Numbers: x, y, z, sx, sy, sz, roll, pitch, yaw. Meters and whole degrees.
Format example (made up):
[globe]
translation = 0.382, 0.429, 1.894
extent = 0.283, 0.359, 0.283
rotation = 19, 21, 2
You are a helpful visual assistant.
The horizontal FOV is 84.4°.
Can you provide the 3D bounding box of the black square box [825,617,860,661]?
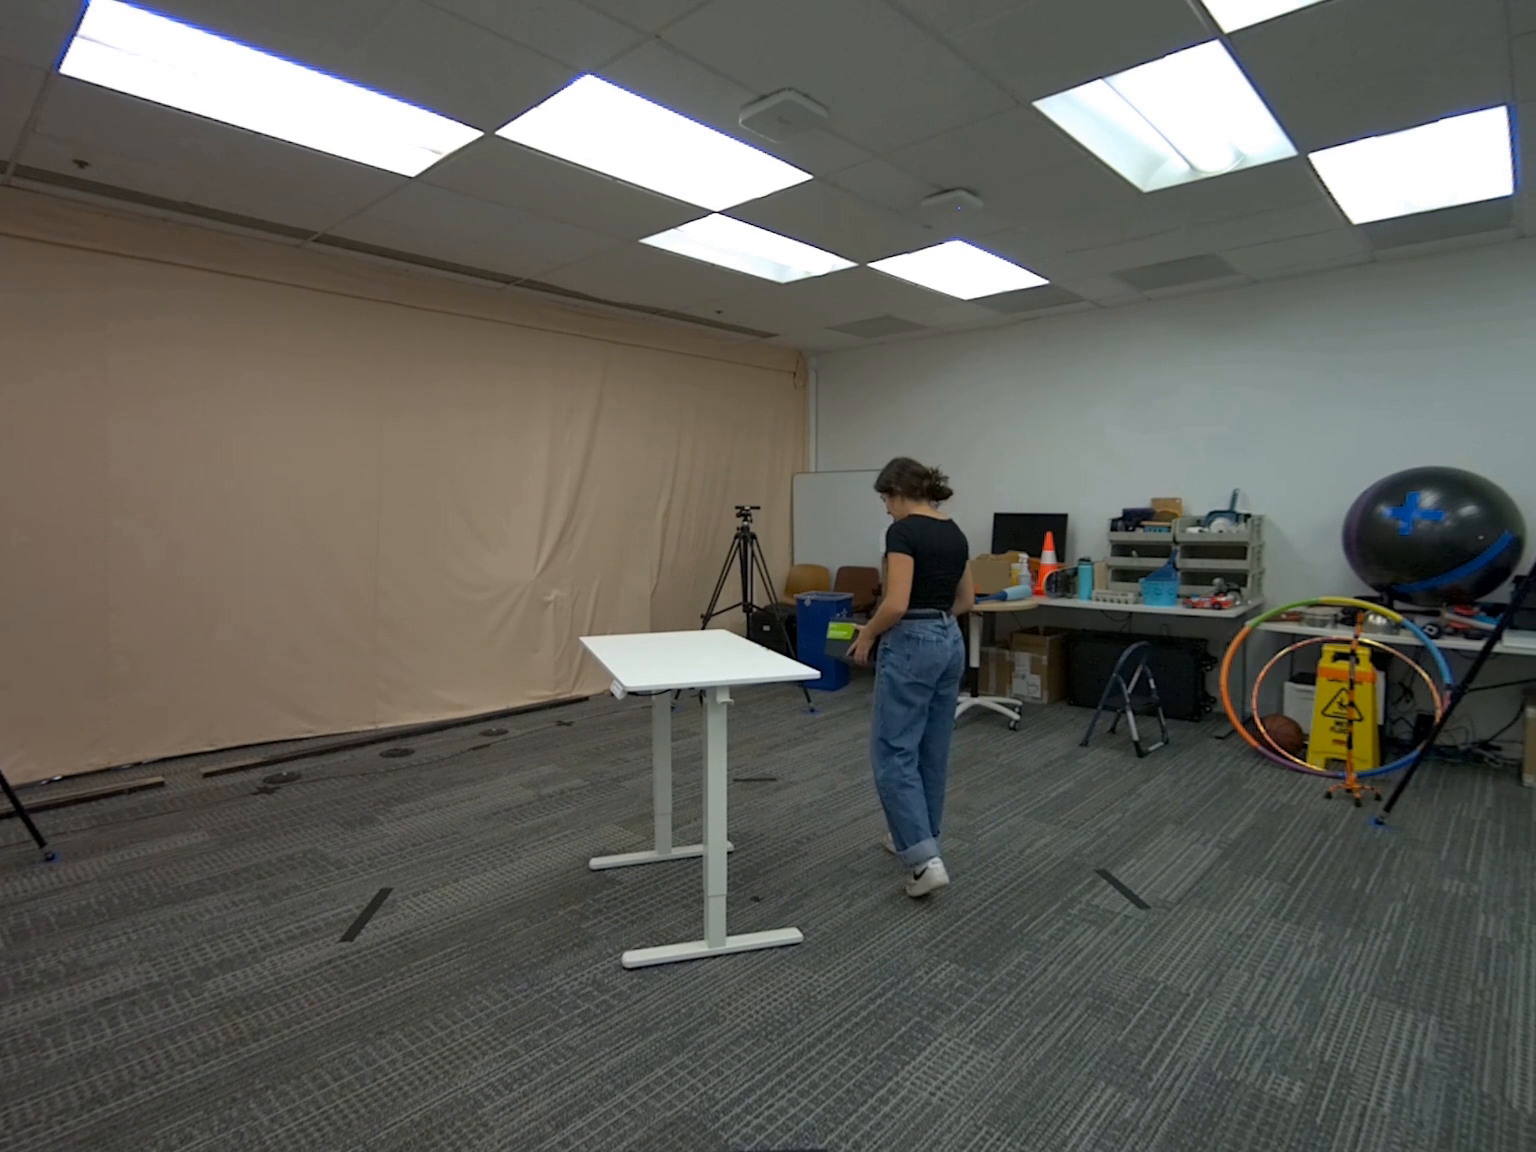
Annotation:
[black square box]
translation = 0.390, 0.264, 3.376
extent = 0.235, 0.156, 0.209
rotation = 3, -10, 38
